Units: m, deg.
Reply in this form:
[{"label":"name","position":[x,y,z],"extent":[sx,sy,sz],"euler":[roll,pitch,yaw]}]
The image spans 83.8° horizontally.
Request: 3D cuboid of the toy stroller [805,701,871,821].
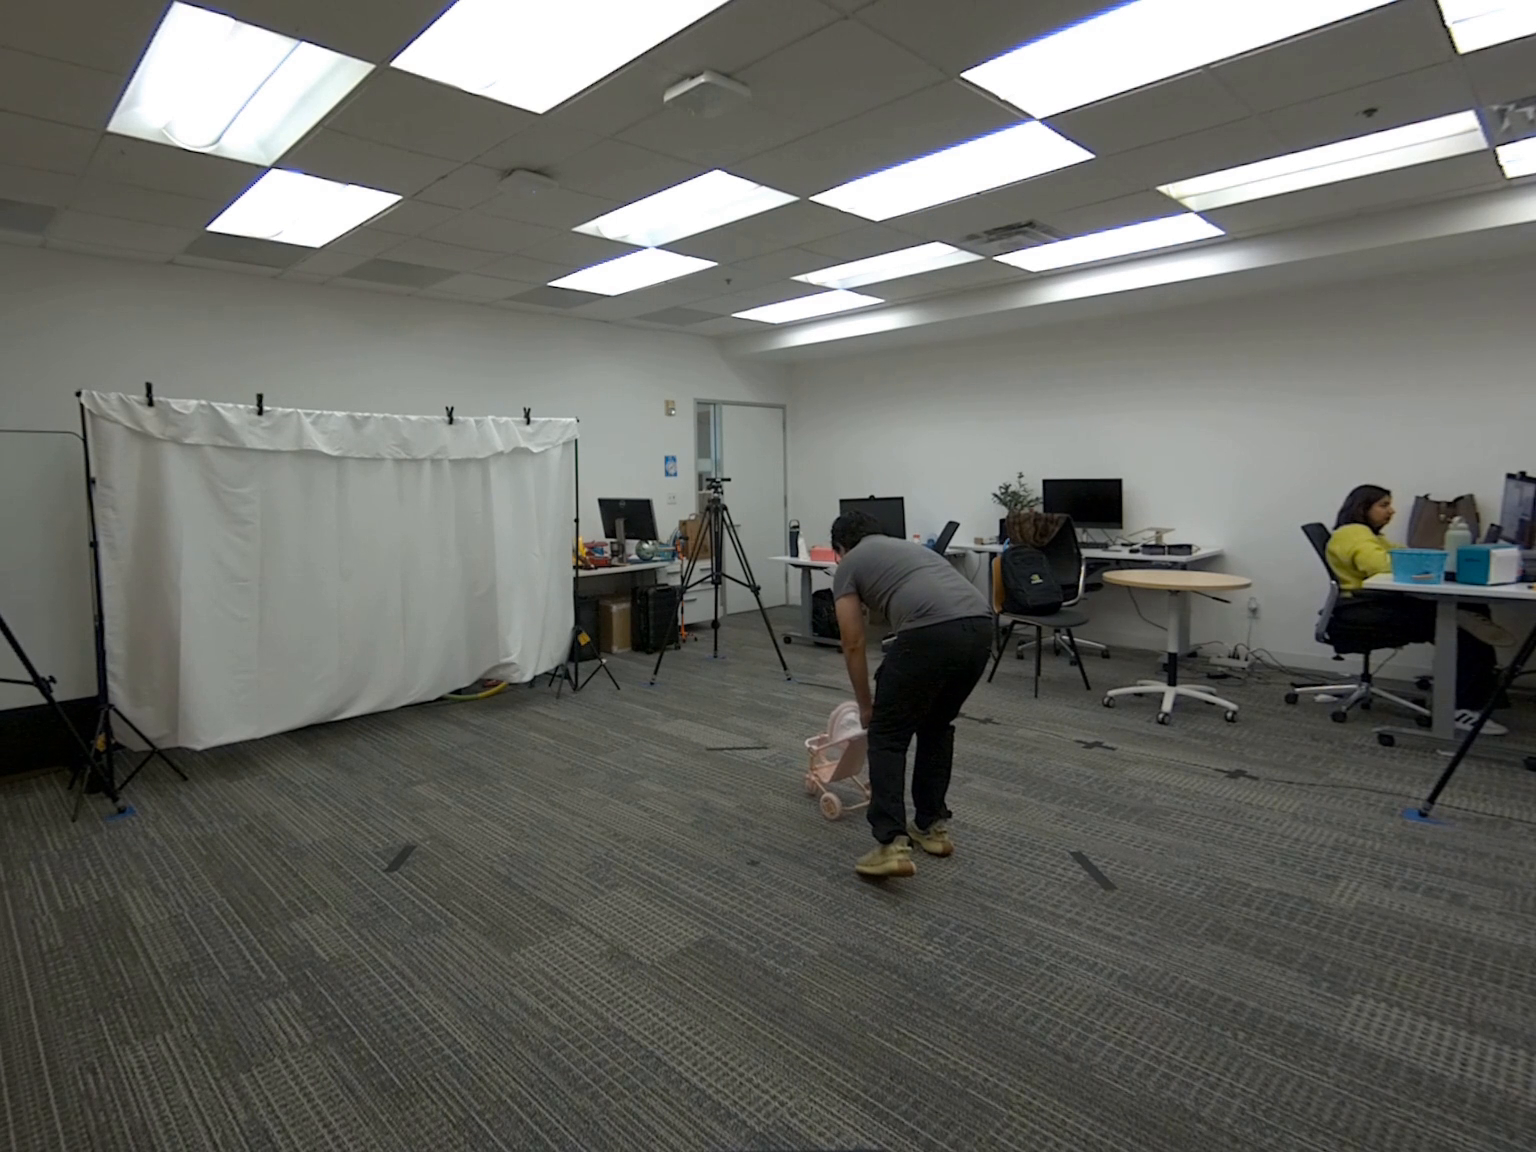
[{"label":"toy stroller","position":[0.314,0.757,3.600],"extent":[0.274,0.528,0.355],"euler":[-3,24,-35]}]
